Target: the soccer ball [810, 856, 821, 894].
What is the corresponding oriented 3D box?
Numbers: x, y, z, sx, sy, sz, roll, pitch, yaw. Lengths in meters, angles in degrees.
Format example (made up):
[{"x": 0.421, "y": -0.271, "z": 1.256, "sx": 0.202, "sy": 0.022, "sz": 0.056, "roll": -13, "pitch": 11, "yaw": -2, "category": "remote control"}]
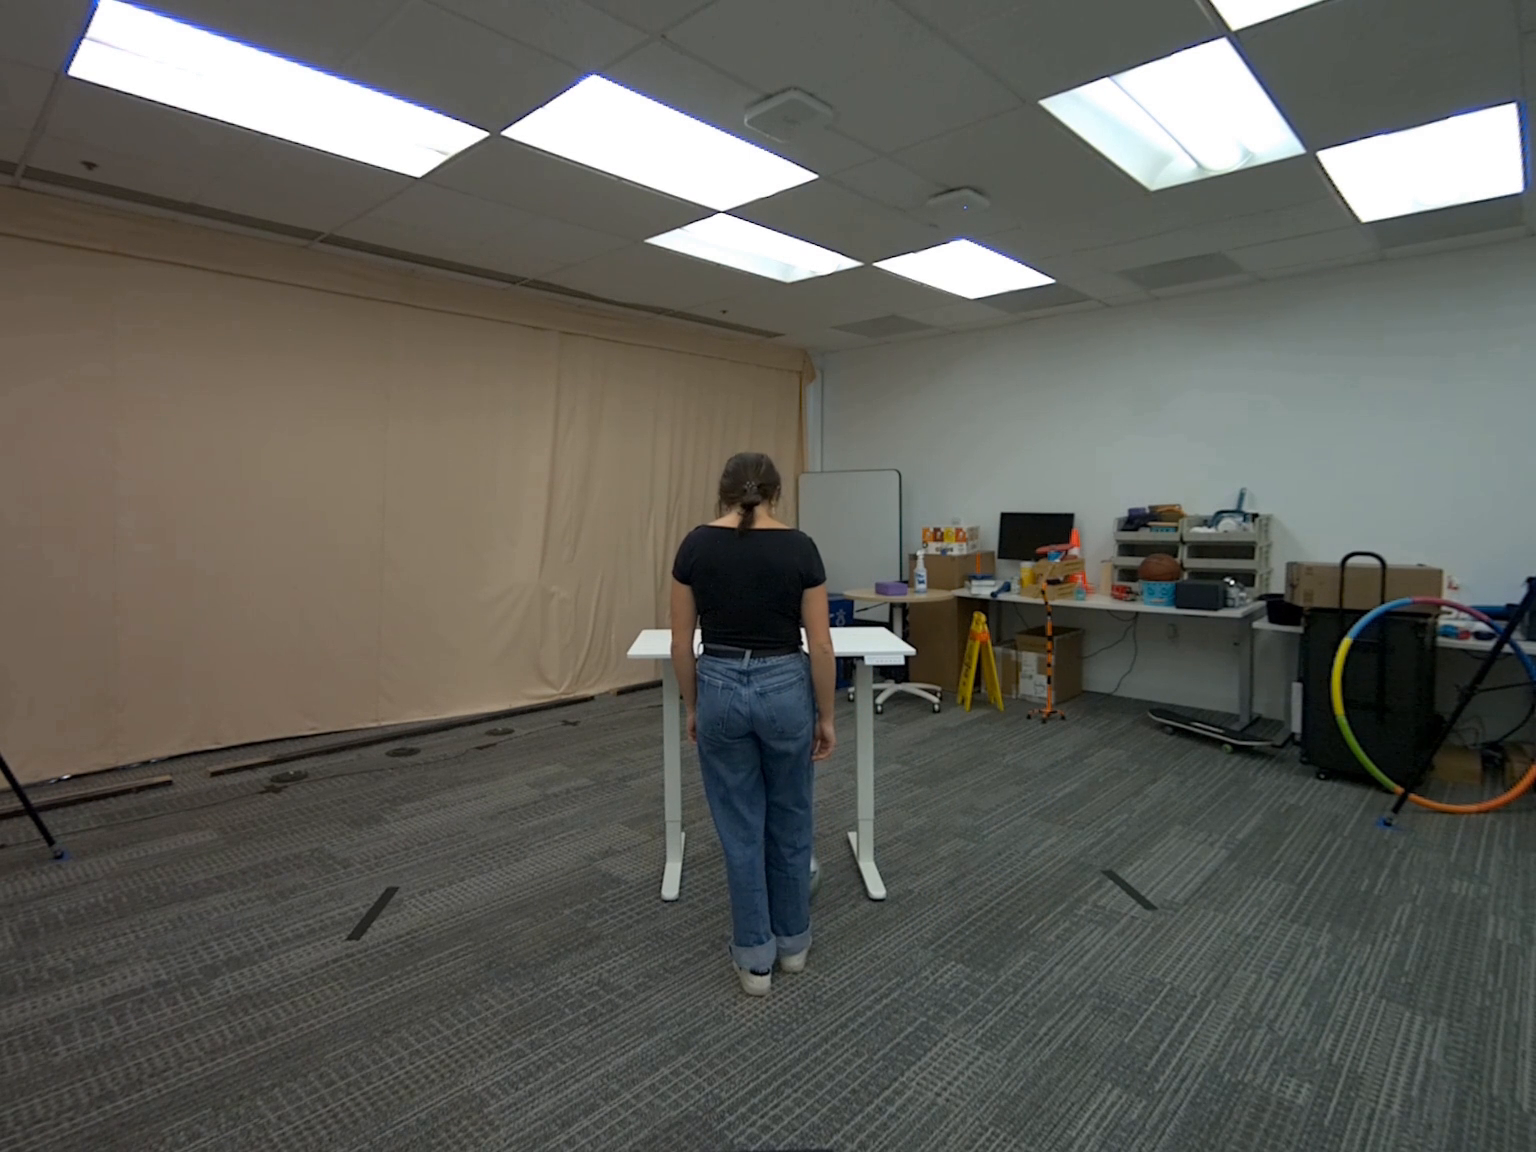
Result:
[{"x": 0.115, "y": 1.058, "z": 2.952, "sx": 0.187, "sy": 0.187, "sz": 0.188, "roll": 0, "pitch": 4, "yaw": -2, "category": "soccer ball"}]
